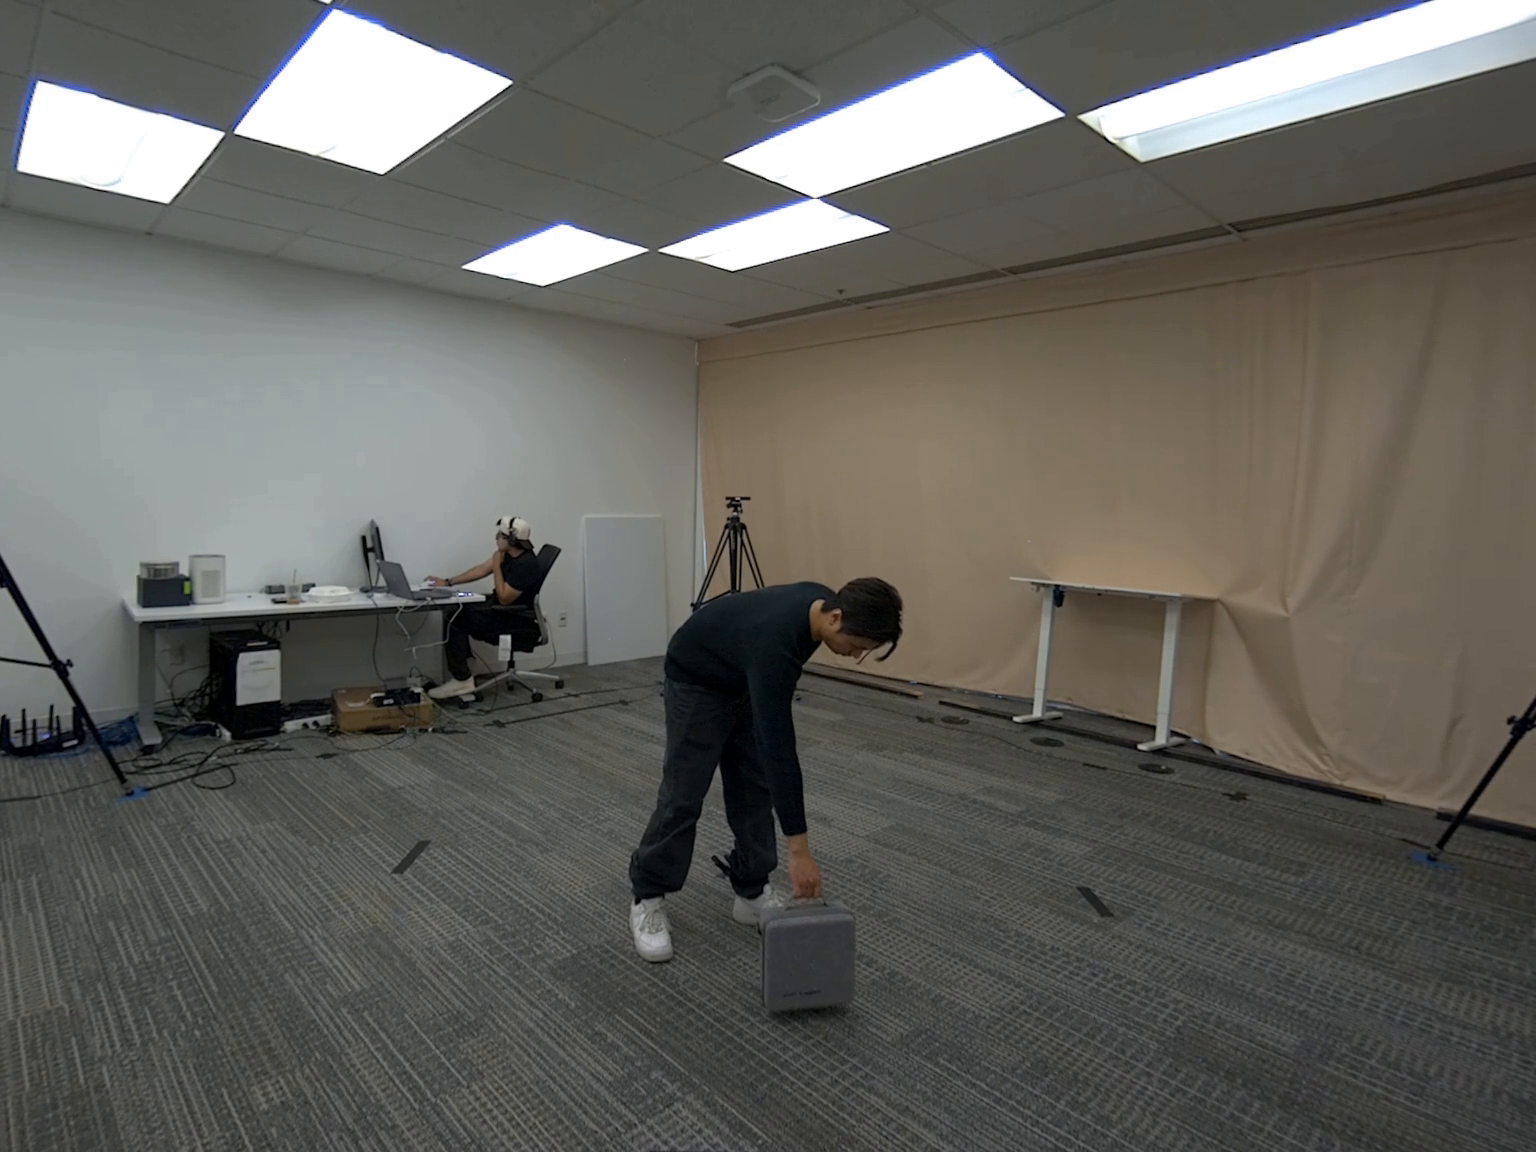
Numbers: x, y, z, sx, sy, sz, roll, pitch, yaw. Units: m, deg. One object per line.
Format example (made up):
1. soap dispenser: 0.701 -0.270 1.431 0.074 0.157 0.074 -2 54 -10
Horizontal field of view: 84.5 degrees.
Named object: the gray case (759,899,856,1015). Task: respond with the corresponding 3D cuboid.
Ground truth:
1. gray case: 0.096 1.021 2.283 0.255 0.260 0.105 0 1 -7
